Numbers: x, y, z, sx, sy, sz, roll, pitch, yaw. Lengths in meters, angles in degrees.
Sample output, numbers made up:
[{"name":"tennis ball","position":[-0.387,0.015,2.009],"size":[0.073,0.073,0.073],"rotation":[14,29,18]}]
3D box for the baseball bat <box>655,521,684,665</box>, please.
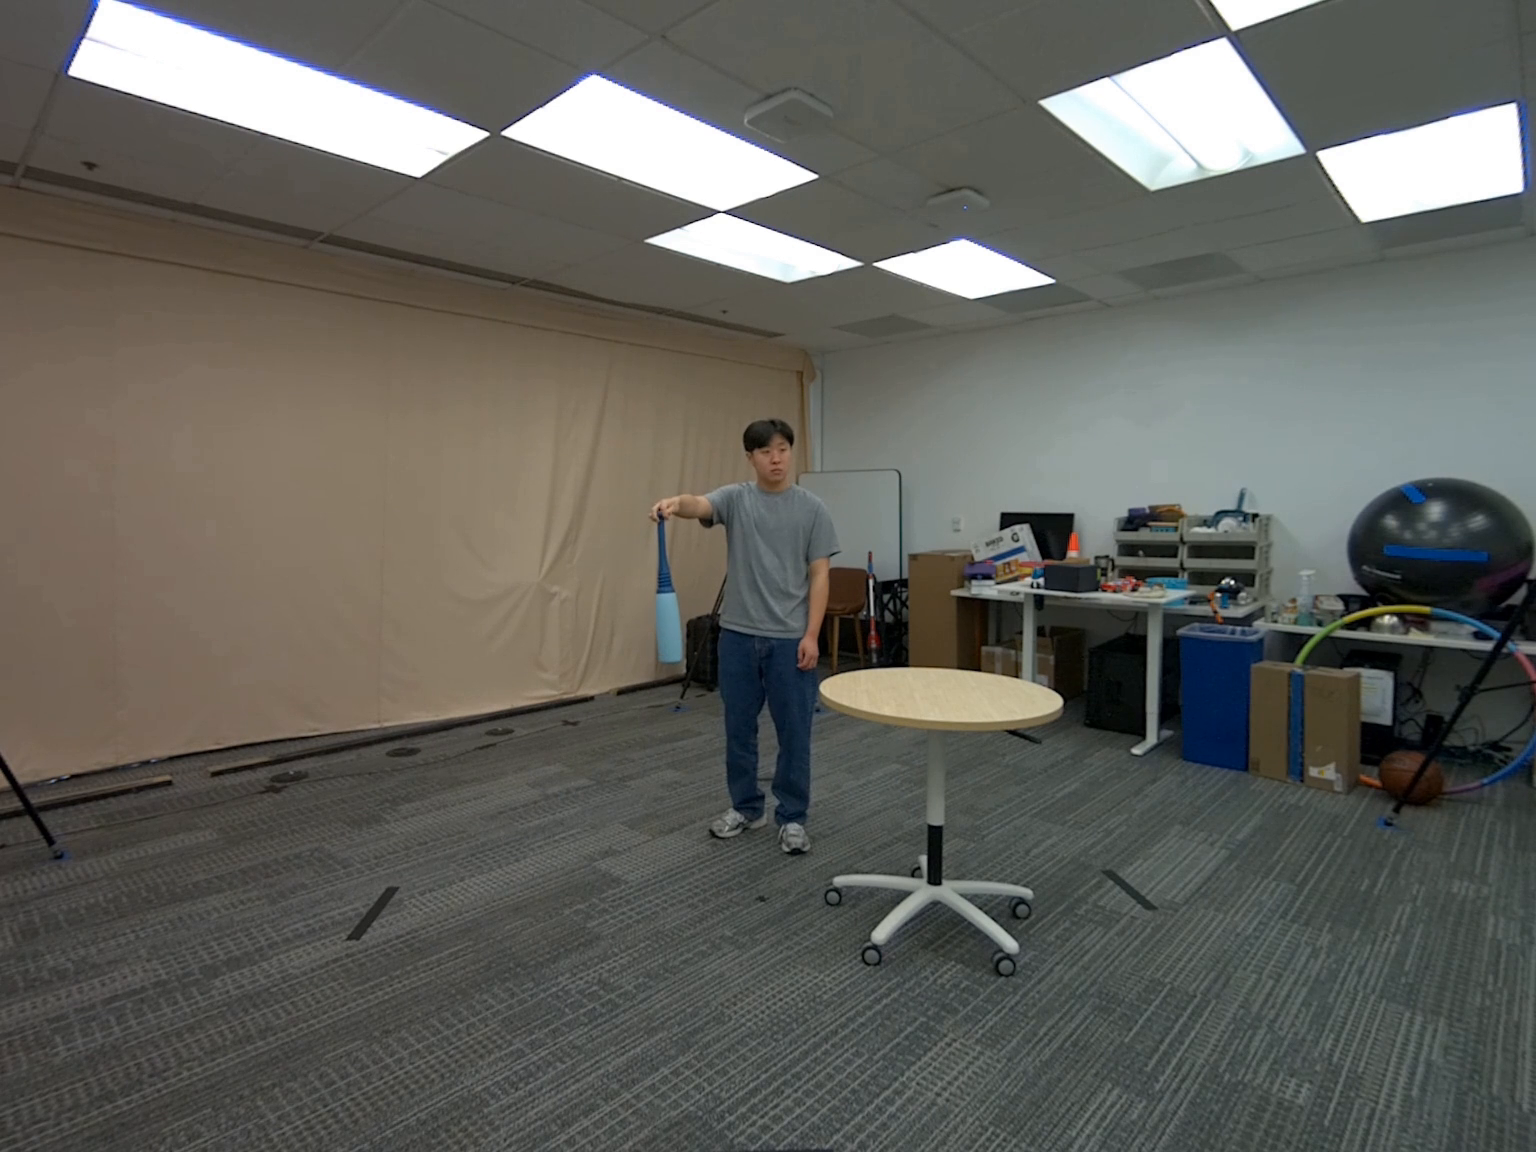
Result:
[{"name":"baseball bat","position":[-0.372,0.035,2.995],"size":[0.089,0.543,0.089],"rotation":[-9,-1,-2]}]
